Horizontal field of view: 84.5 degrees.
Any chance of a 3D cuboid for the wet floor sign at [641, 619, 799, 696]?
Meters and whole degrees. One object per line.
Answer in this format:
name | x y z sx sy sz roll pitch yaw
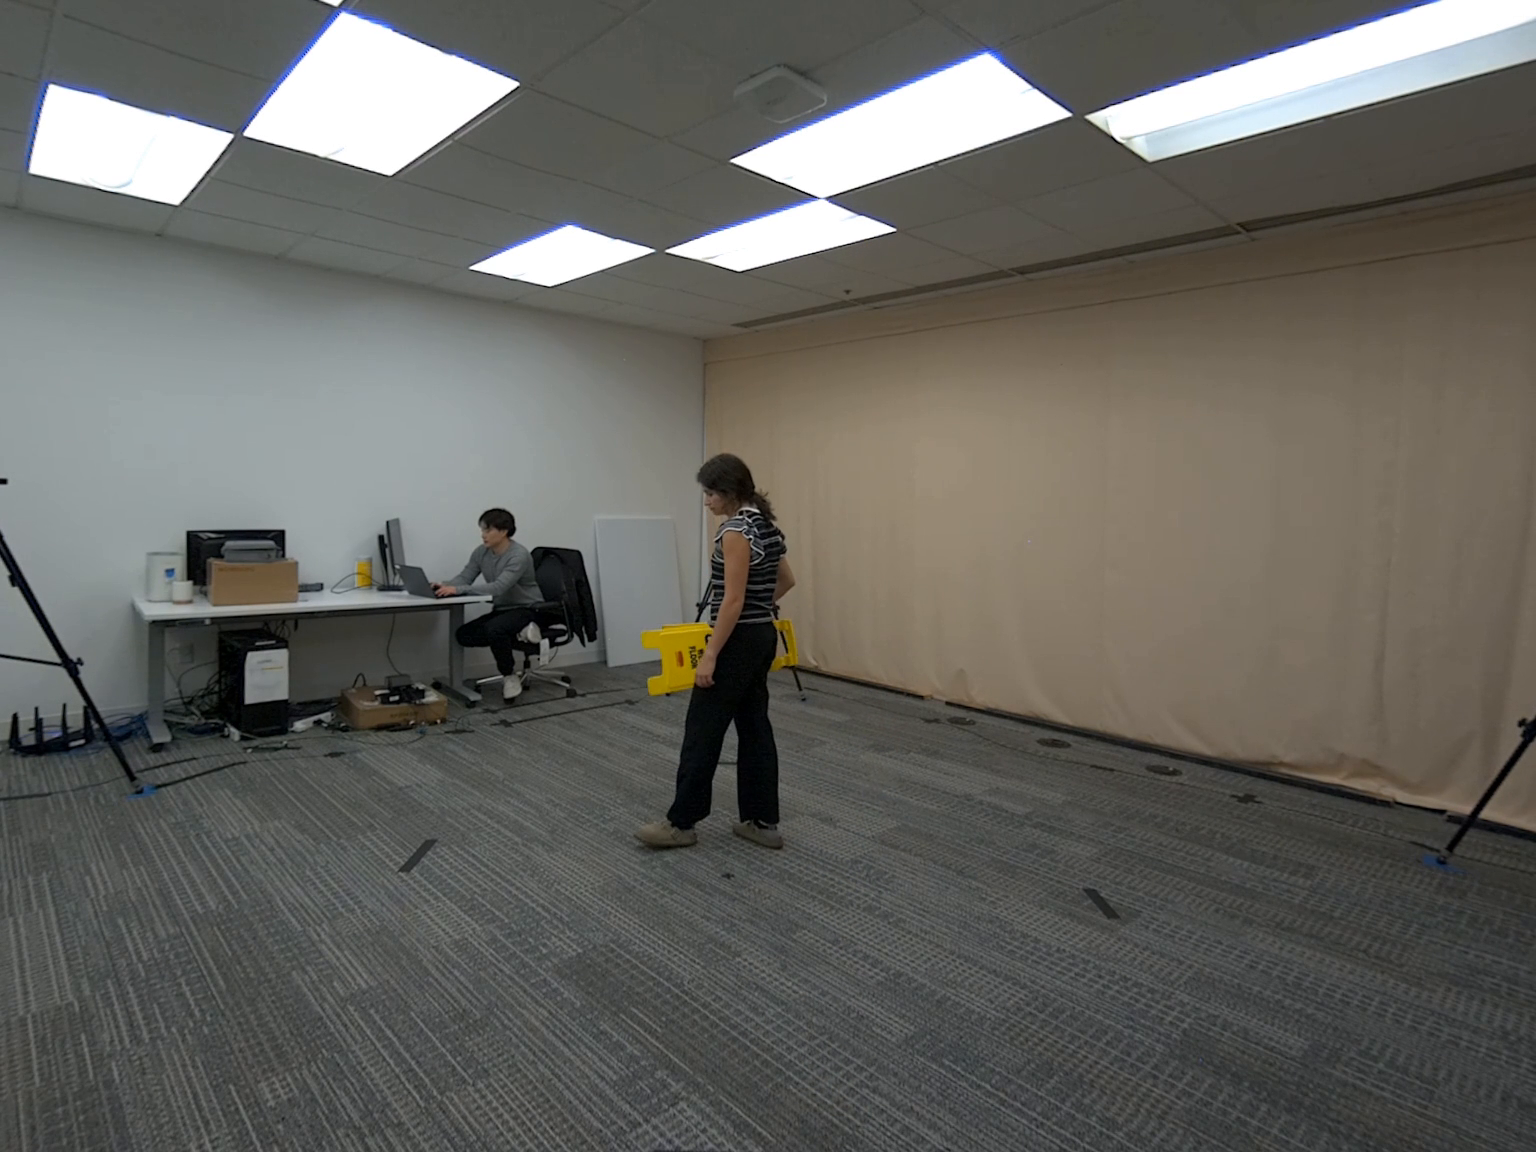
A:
wet floor sign | -0.209 0.325 3.672 0.653 0.283 0.286 -9 -1 15
